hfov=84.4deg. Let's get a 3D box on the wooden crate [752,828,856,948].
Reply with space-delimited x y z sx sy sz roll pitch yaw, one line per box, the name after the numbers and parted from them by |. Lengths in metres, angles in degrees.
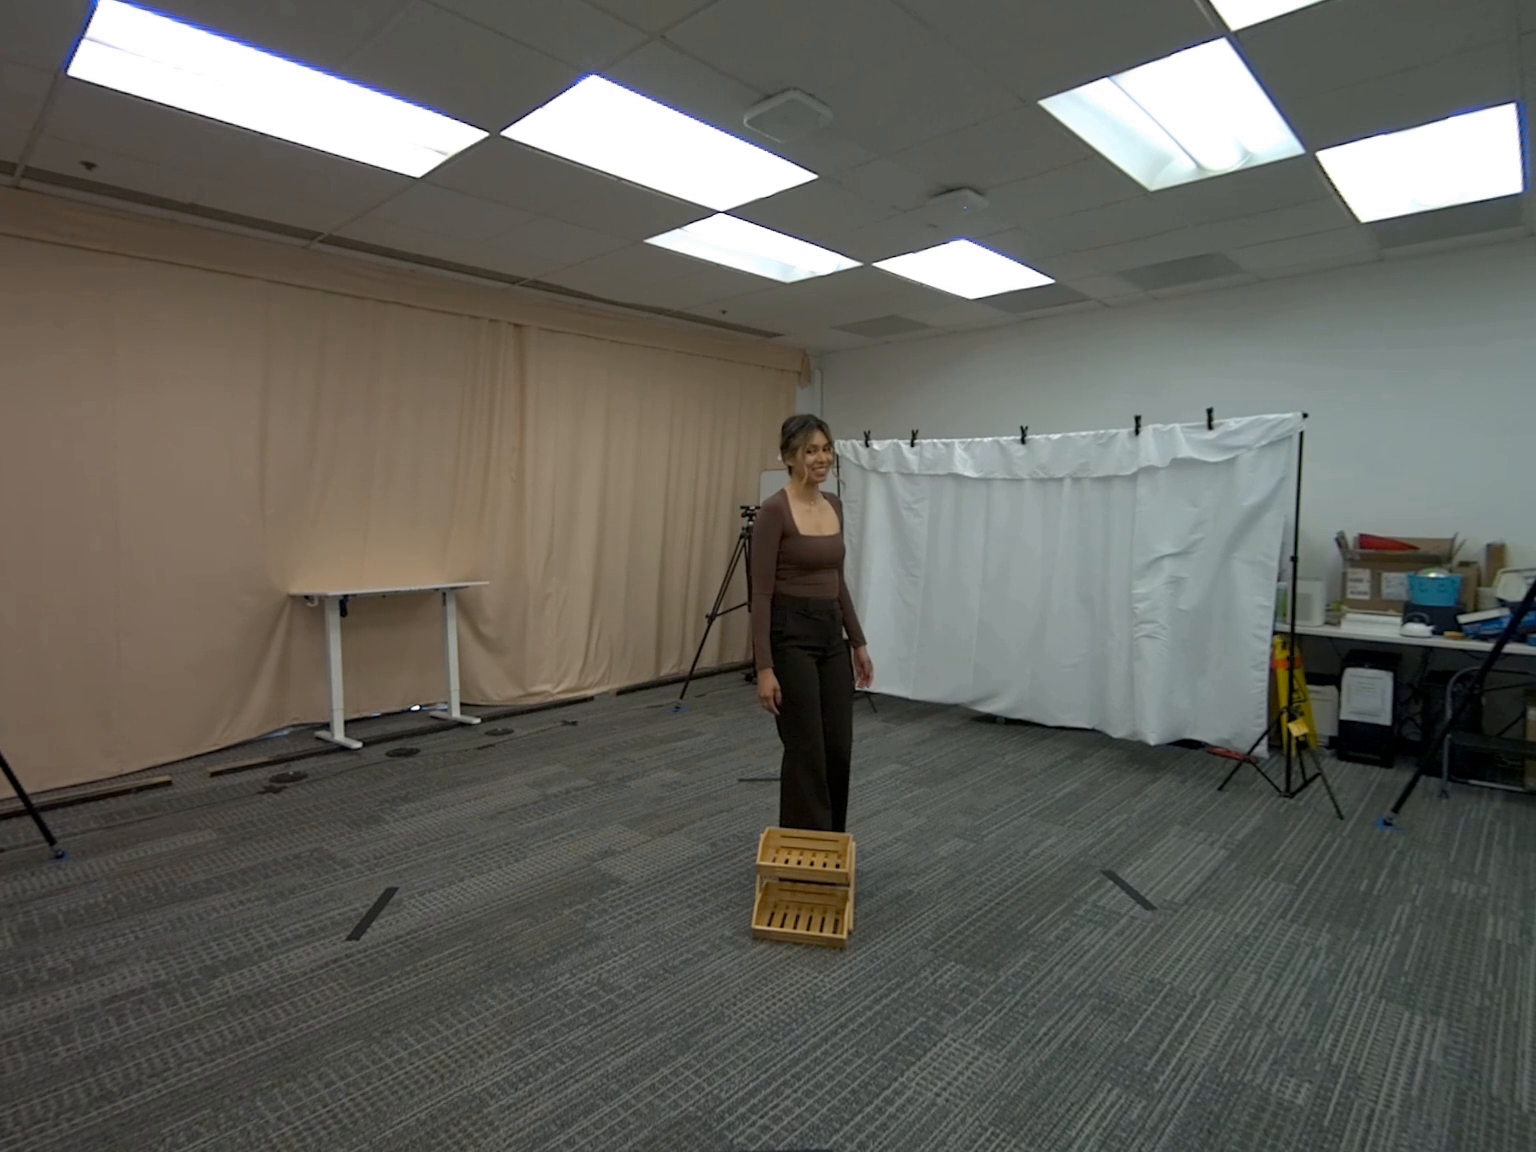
0.123 1.023 2.792 0.329 0.273 0.299 1 4 11 | wooden crate
